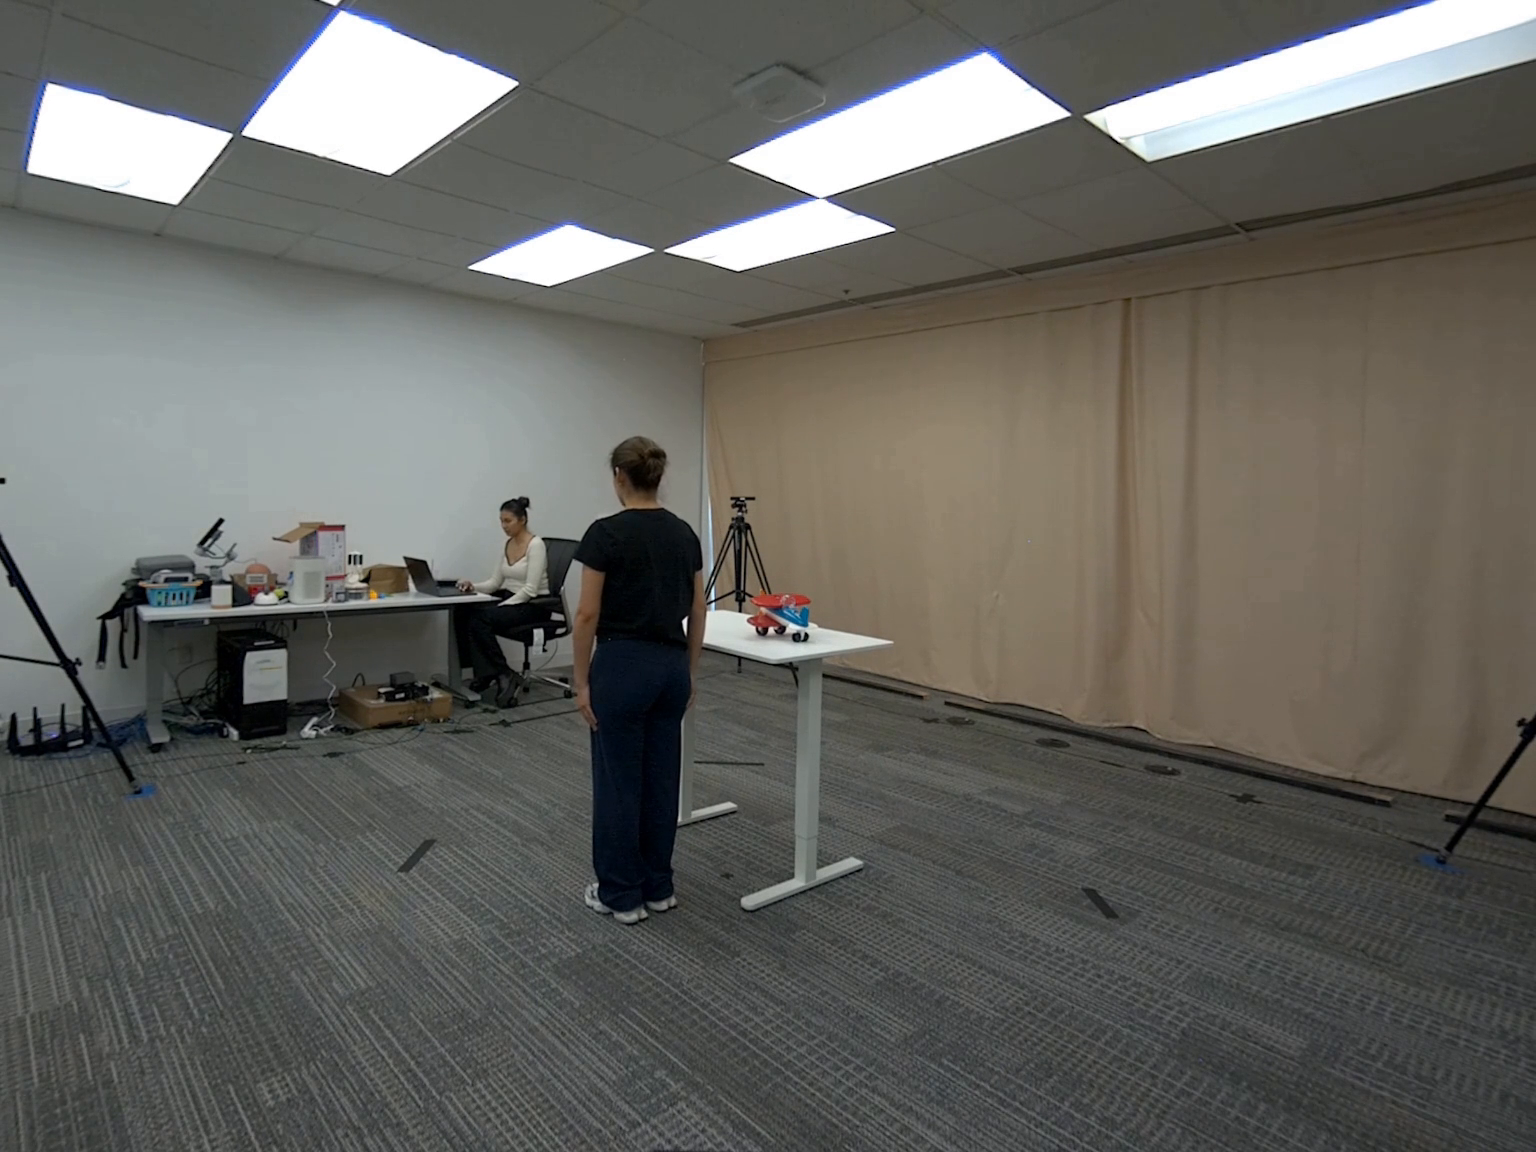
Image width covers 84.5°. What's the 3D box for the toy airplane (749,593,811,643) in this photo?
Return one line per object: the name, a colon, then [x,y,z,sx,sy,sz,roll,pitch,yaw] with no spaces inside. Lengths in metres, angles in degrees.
toy airplane: [0.072,0.154,3.103,0.264,0.156,0.247,3,5,26]
